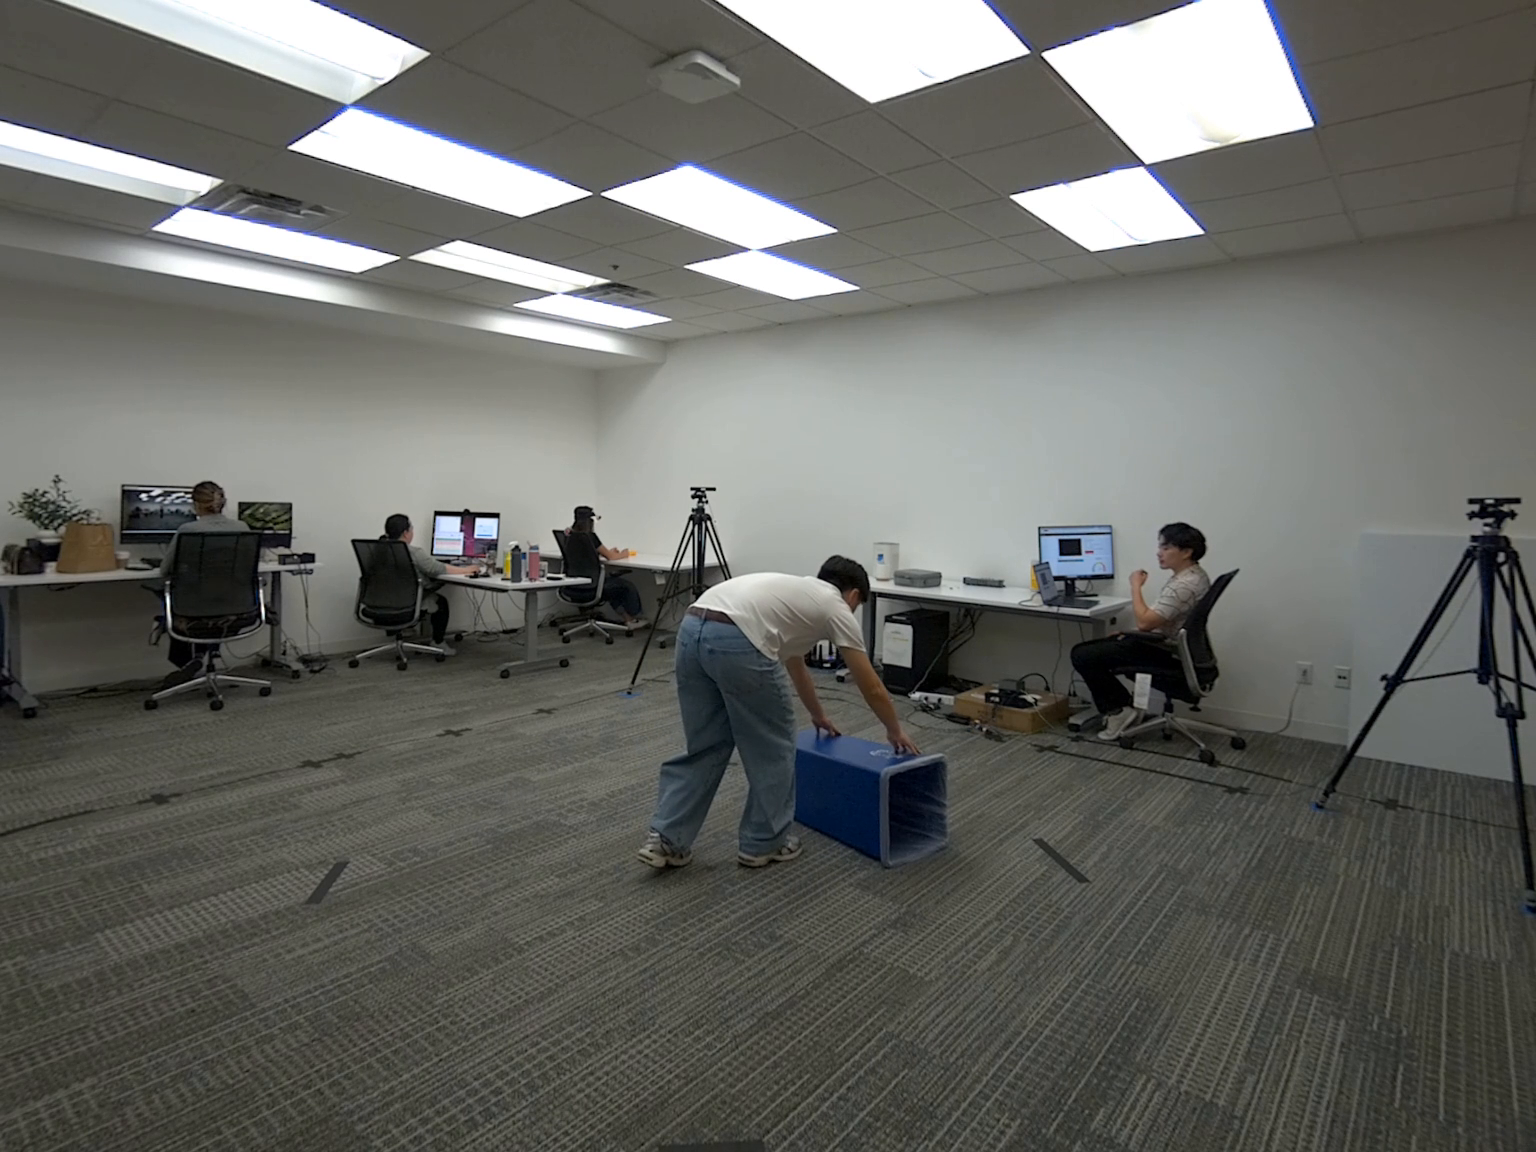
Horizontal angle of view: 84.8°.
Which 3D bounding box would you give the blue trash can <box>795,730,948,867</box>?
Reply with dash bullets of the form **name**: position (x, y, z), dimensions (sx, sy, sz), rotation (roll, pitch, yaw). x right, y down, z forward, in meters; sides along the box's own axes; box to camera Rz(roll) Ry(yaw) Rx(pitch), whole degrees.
- **blue trash can**: position (0.334, 0.861, 3.515), dimensions (0.367, 0.373, 0.737), rotation (-2, 5, -39)
